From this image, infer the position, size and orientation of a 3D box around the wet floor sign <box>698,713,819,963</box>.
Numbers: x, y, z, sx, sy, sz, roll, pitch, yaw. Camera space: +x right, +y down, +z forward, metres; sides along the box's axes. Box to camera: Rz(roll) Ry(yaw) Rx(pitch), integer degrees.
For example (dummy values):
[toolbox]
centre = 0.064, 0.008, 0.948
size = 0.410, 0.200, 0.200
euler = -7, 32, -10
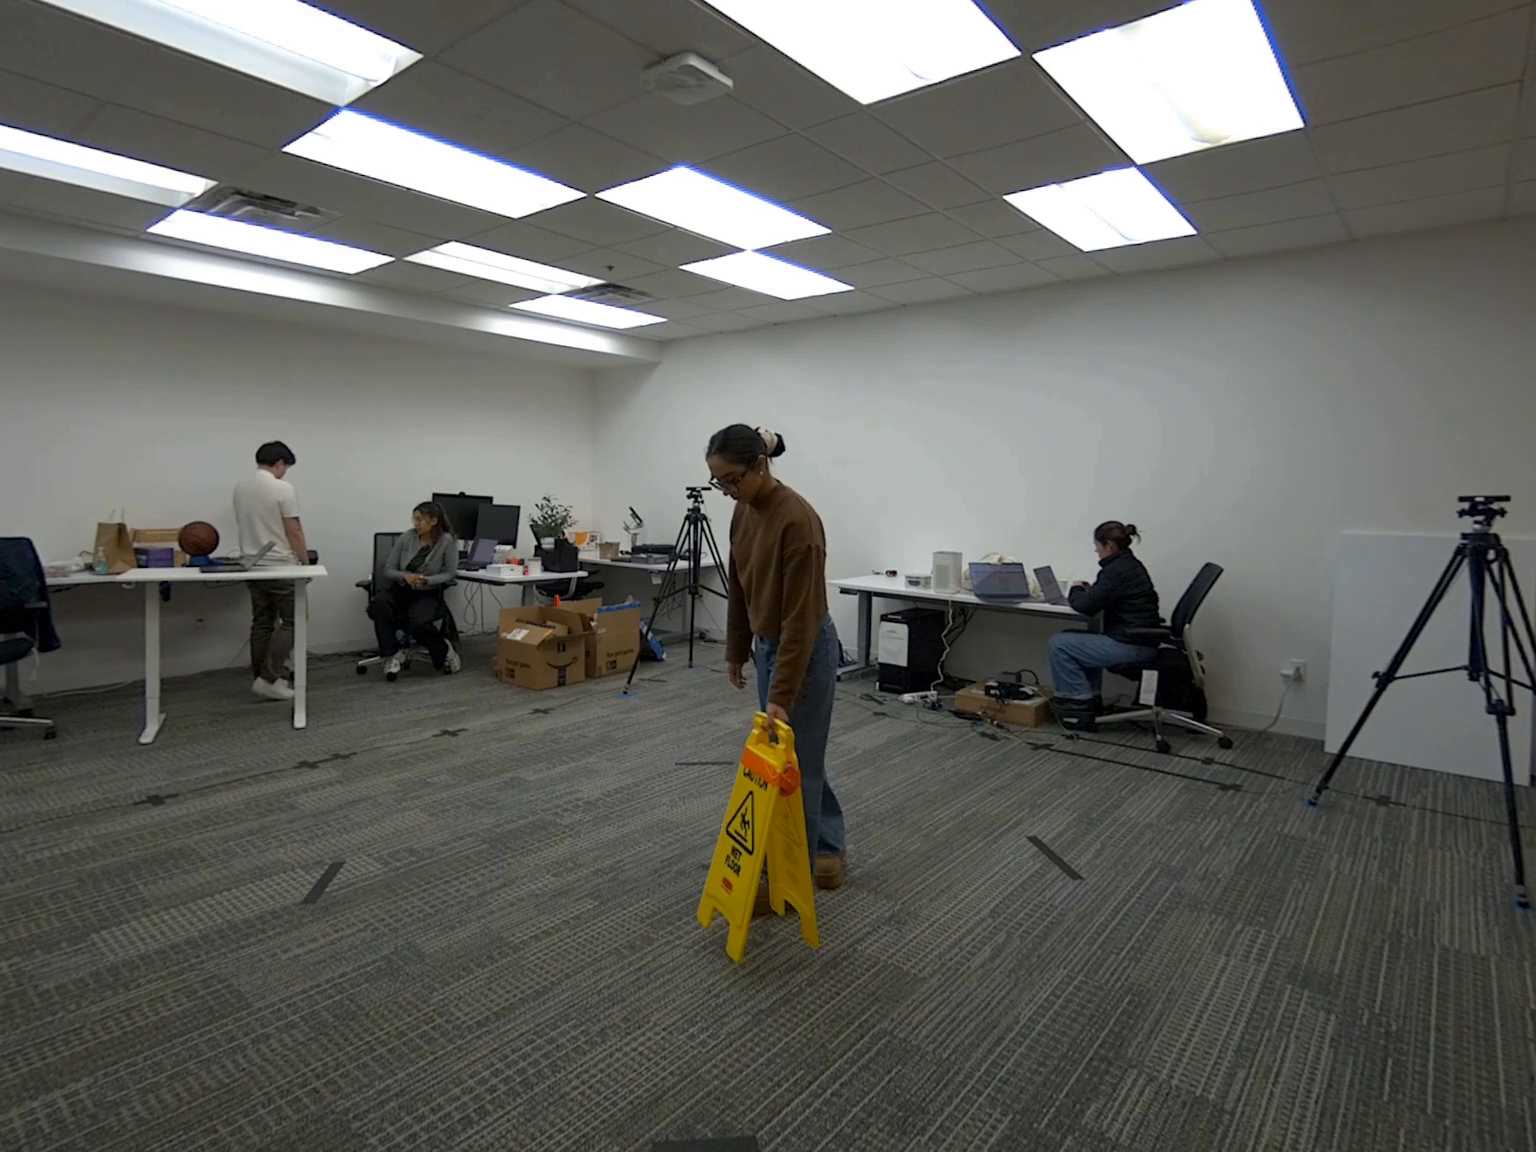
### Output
[wet floor sign]
centre = -0.012, 0.741, 2.531
size = 0.282, 0.644, 0.291
euler = 4, 3, -28
